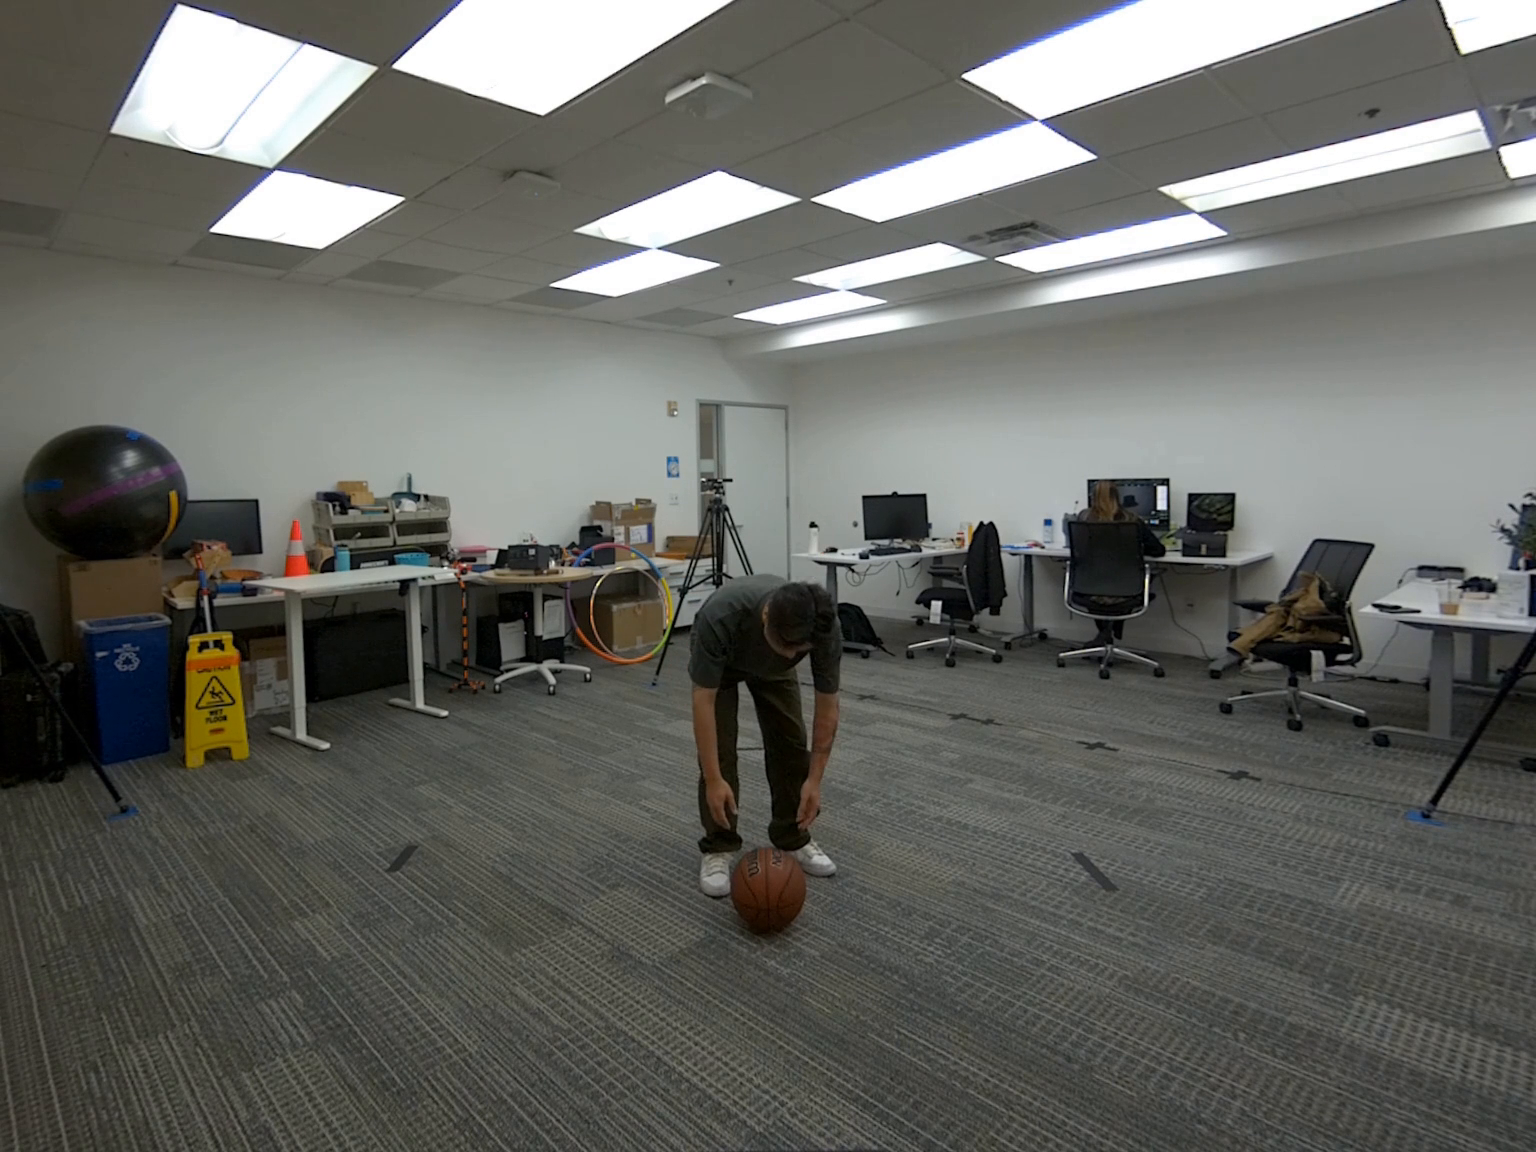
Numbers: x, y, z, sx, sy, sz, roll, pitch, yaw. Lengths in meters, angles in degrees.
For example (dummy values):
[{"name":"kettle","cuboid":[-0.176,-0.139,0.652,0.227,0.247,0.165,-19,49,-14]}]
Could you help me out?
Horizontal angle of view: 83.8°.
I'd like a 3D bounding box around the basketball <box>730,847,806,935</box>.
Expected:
[{"name":"basketball","cuboid":[0.007,0.976,2.666,0.236,0.235,0.237,-1,5,-2]}]
